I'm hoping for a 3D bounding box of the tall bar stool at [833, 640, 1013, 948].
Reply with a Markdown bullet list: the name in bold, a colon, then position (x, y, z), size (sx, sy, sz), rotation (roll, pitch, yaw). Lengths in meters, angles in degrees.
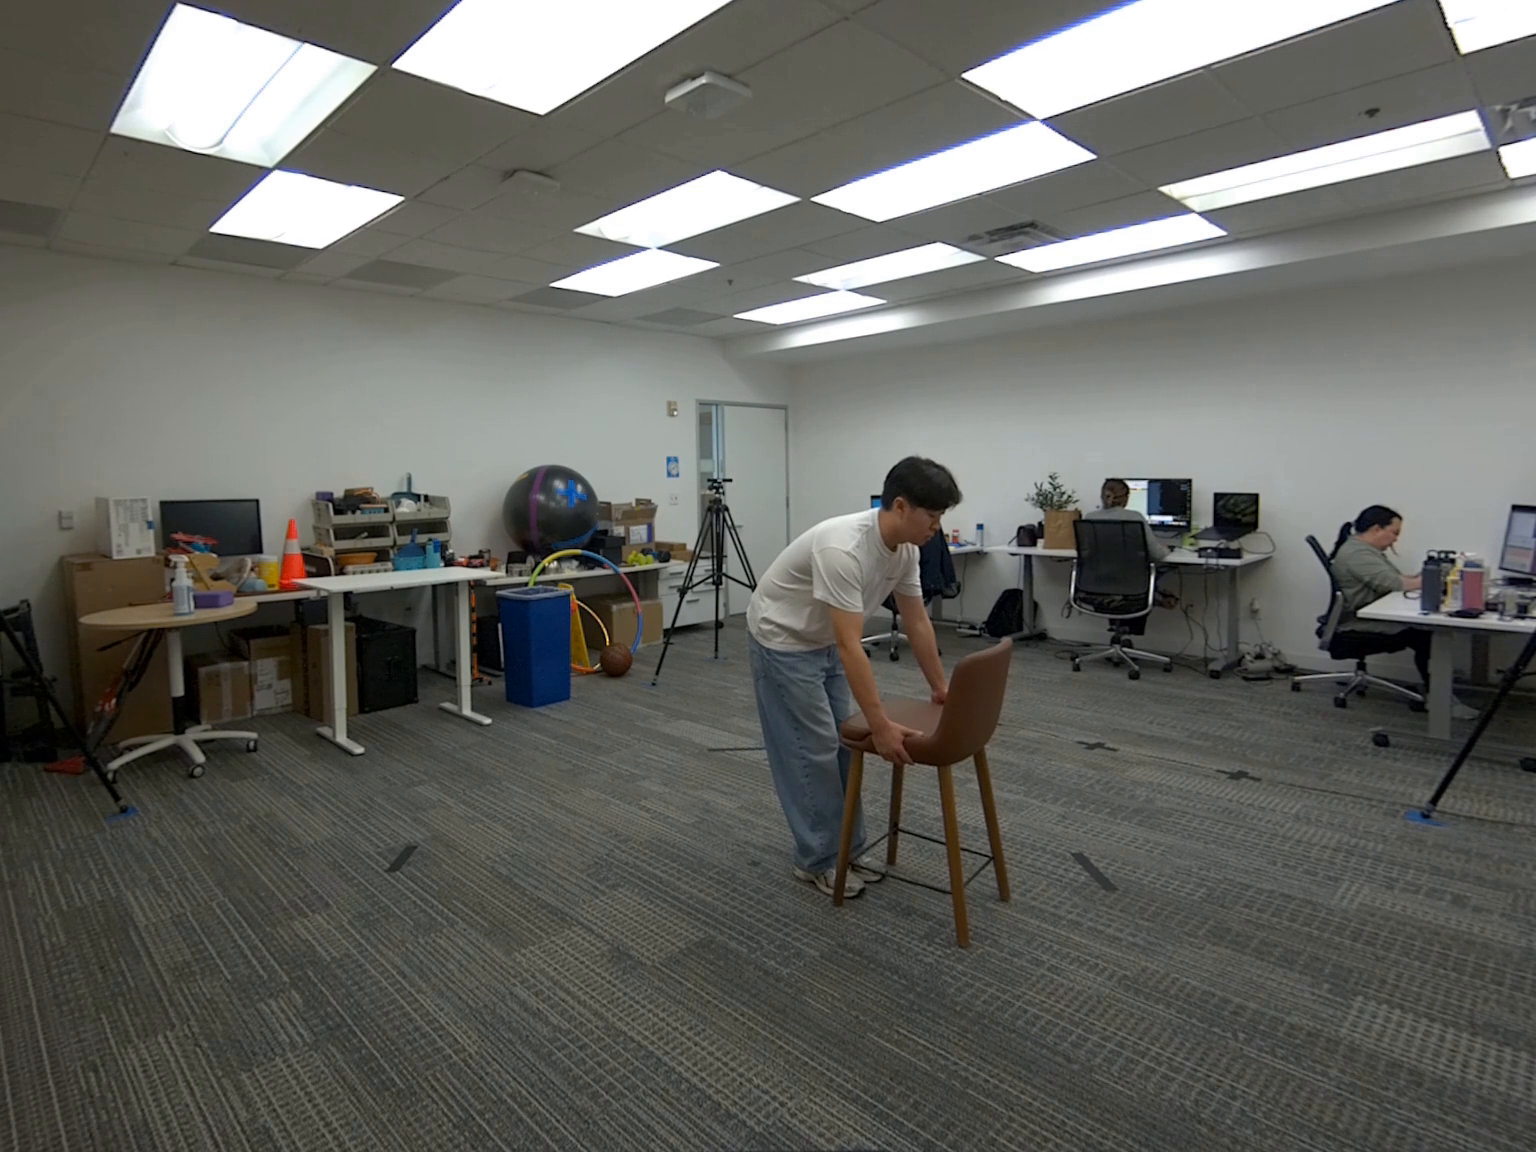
- **tall bar stool**: position (0.515, 0.635, 2.770), size (0.482, 0.885, 0.445), rotation (5, 7, 37)
